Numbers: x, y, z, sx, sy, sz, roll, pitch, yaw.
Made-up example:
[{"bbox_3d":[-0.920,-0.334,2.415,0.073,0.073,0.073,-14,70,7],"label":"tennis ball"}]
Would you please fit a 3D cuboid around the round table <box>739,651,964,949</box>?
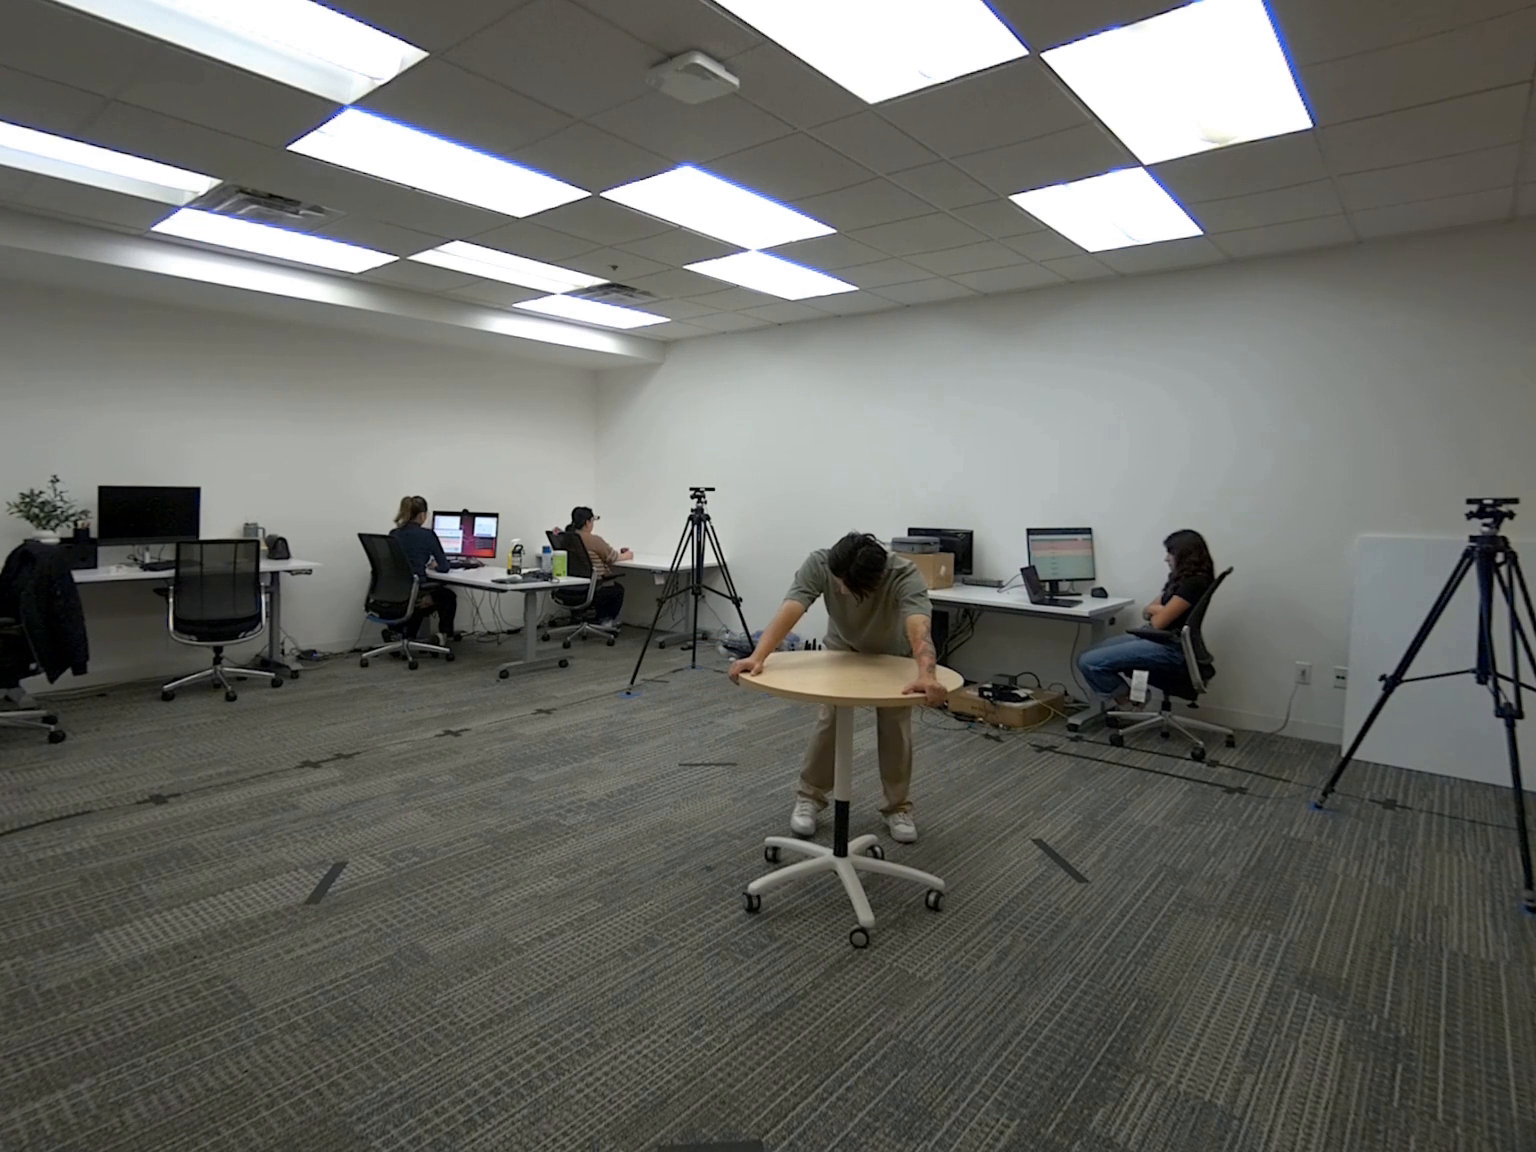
[{"bbox_3d":[0.255,0.708,2.901,0.784,0.784,0.789,2,4,-2],"label":"round table"}]
